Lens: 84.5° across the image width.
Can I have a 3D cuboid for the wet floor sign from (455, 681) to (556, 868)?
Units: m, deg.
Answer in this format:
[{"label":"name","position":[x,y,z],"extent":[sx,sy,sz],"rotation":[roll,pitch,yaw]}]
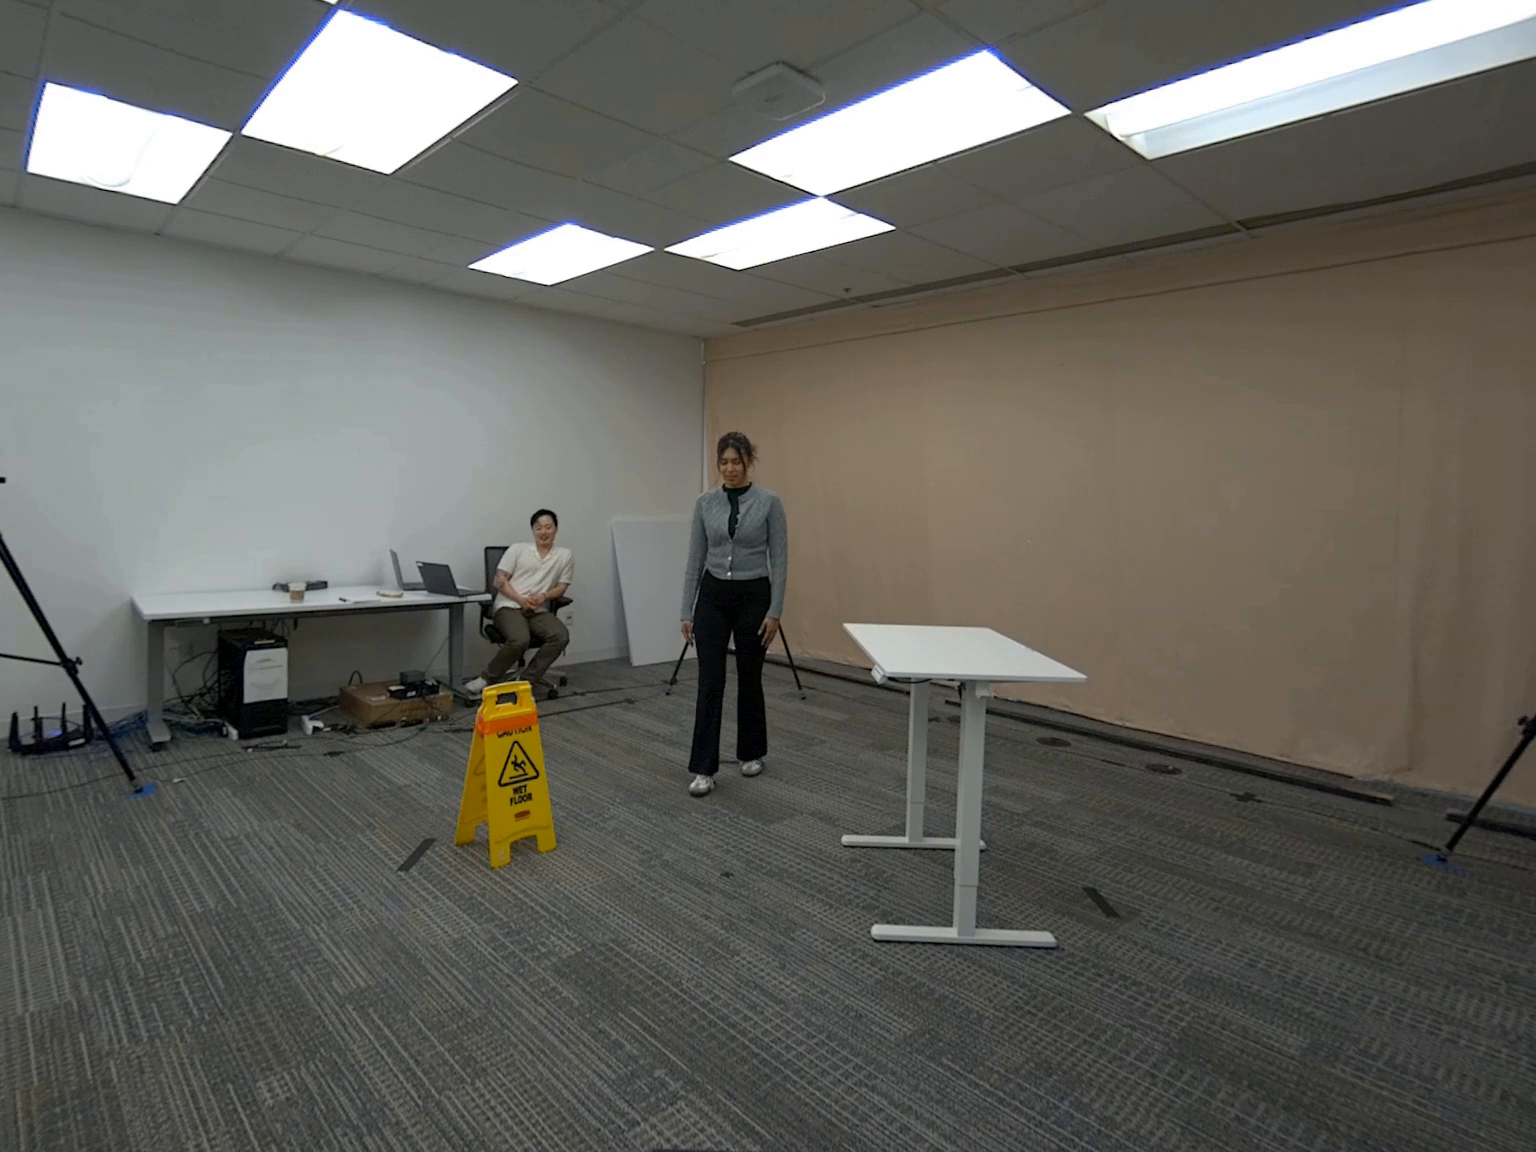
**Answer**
[{"label":"wet floor sign","position":[-1.035,0.746,3.291],"extent":[0.297,0.645,0.276],"rotation":[4,4,43]}]
